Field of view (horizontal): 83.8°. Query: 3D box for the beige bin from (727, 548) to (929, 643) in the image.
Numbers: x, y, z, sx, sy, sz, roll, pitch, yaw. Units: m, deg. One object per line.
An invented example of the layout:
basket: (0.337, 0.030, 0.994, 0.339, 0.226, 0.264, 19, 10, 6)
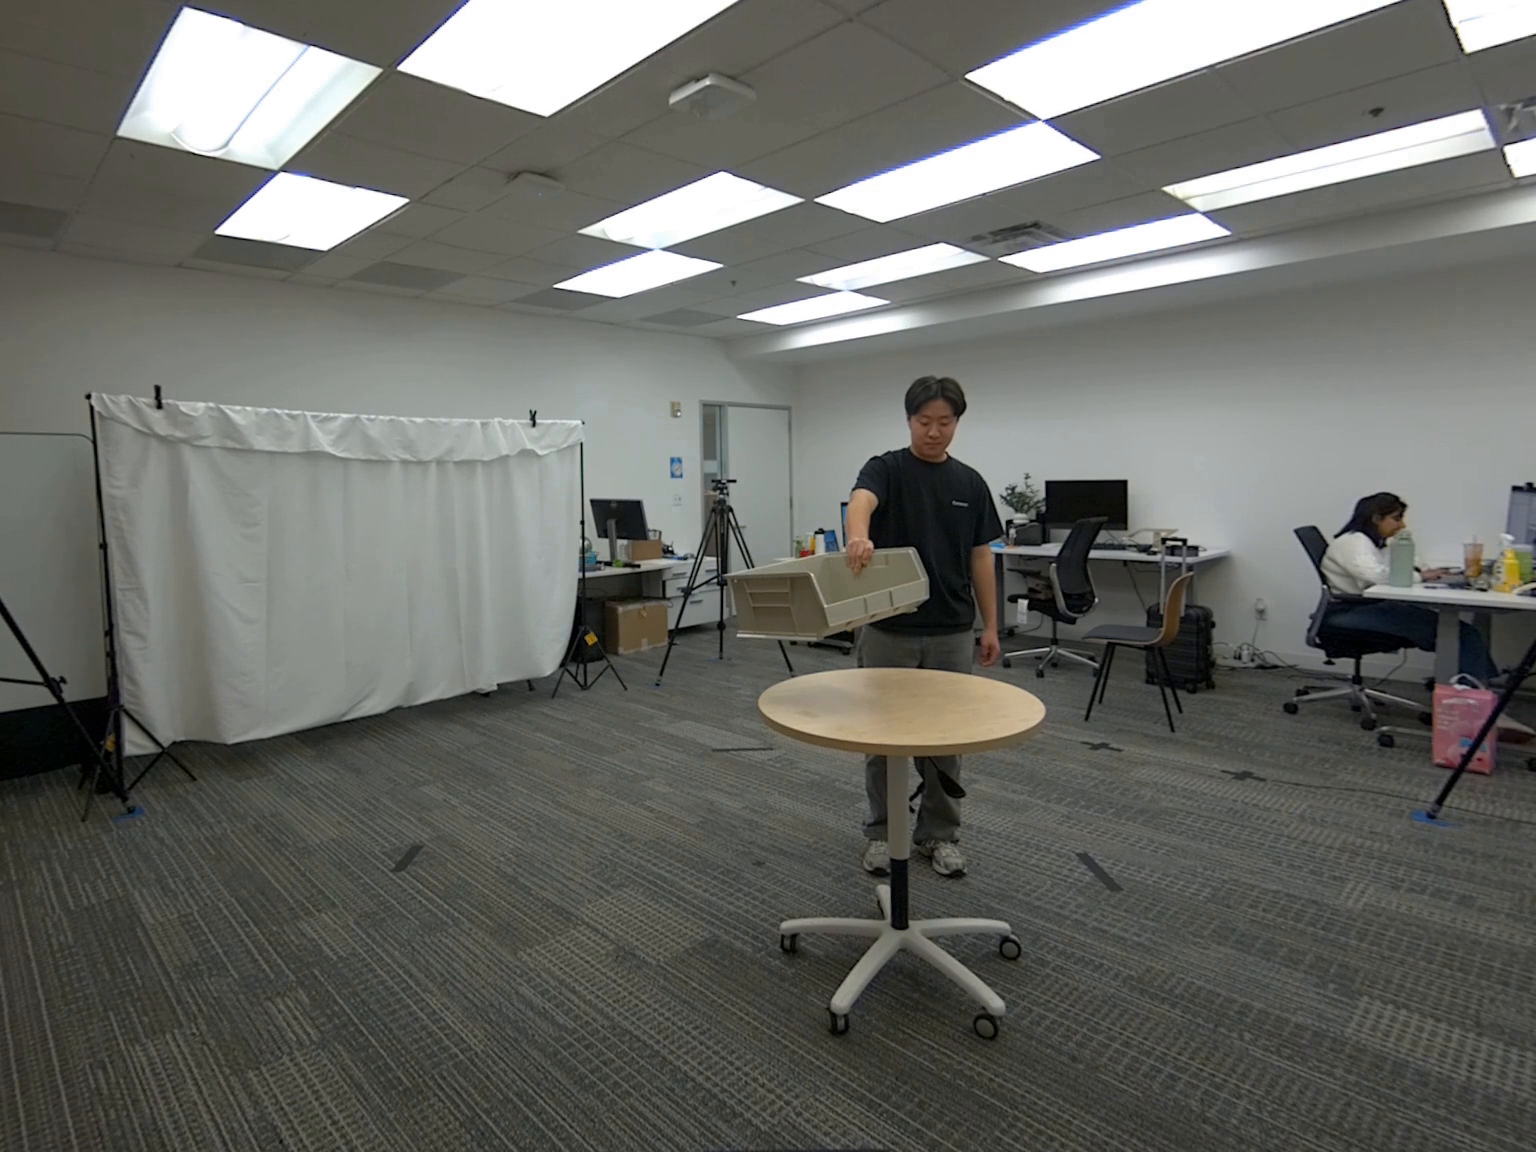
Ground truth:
beige bin: (0.167, 0.048, 2.372, 0.413, 0.188, 0.387, -12, 5, -38)
